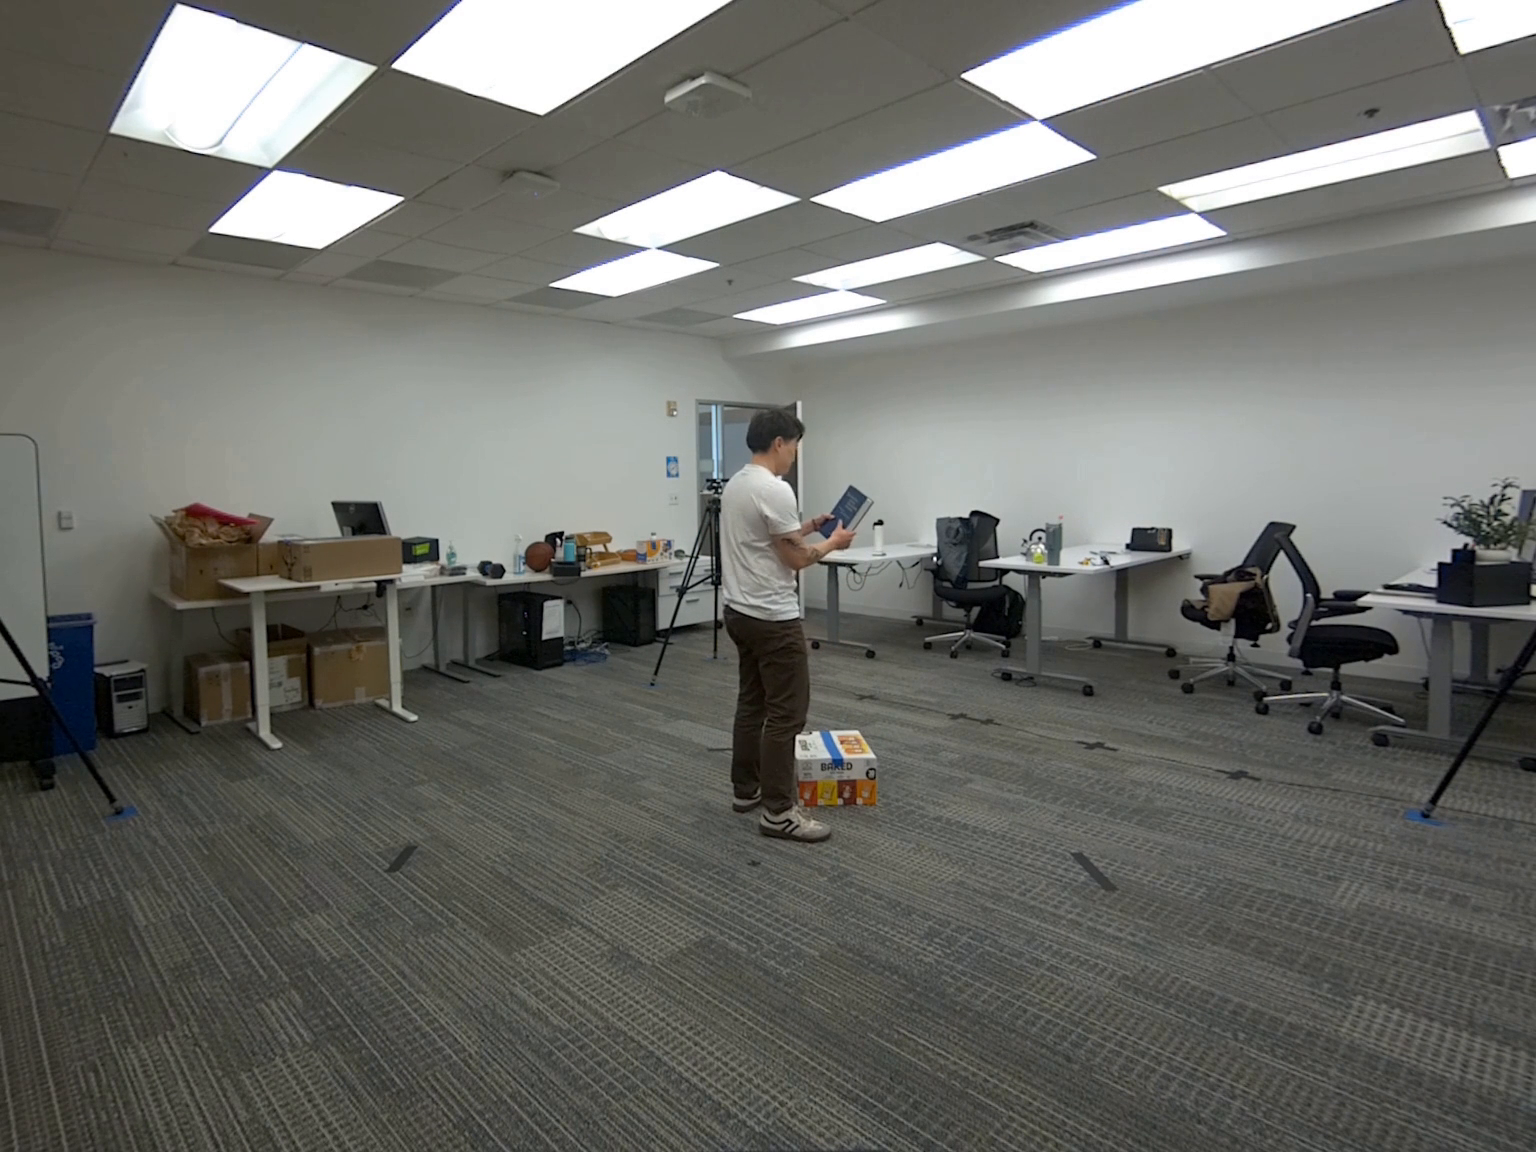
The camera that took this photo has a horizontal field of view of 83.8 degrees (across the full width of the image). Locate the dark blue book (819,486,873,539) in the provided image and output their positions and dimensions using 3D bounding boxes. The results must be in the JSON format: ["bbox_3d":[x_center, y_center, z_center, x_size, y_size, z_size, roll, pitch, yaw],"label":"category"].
[{"bbox_3d":[0.330,-0.243,3.596,0.044,0.245,0.169,32,11,-31],"label":"dark blue book"}]
